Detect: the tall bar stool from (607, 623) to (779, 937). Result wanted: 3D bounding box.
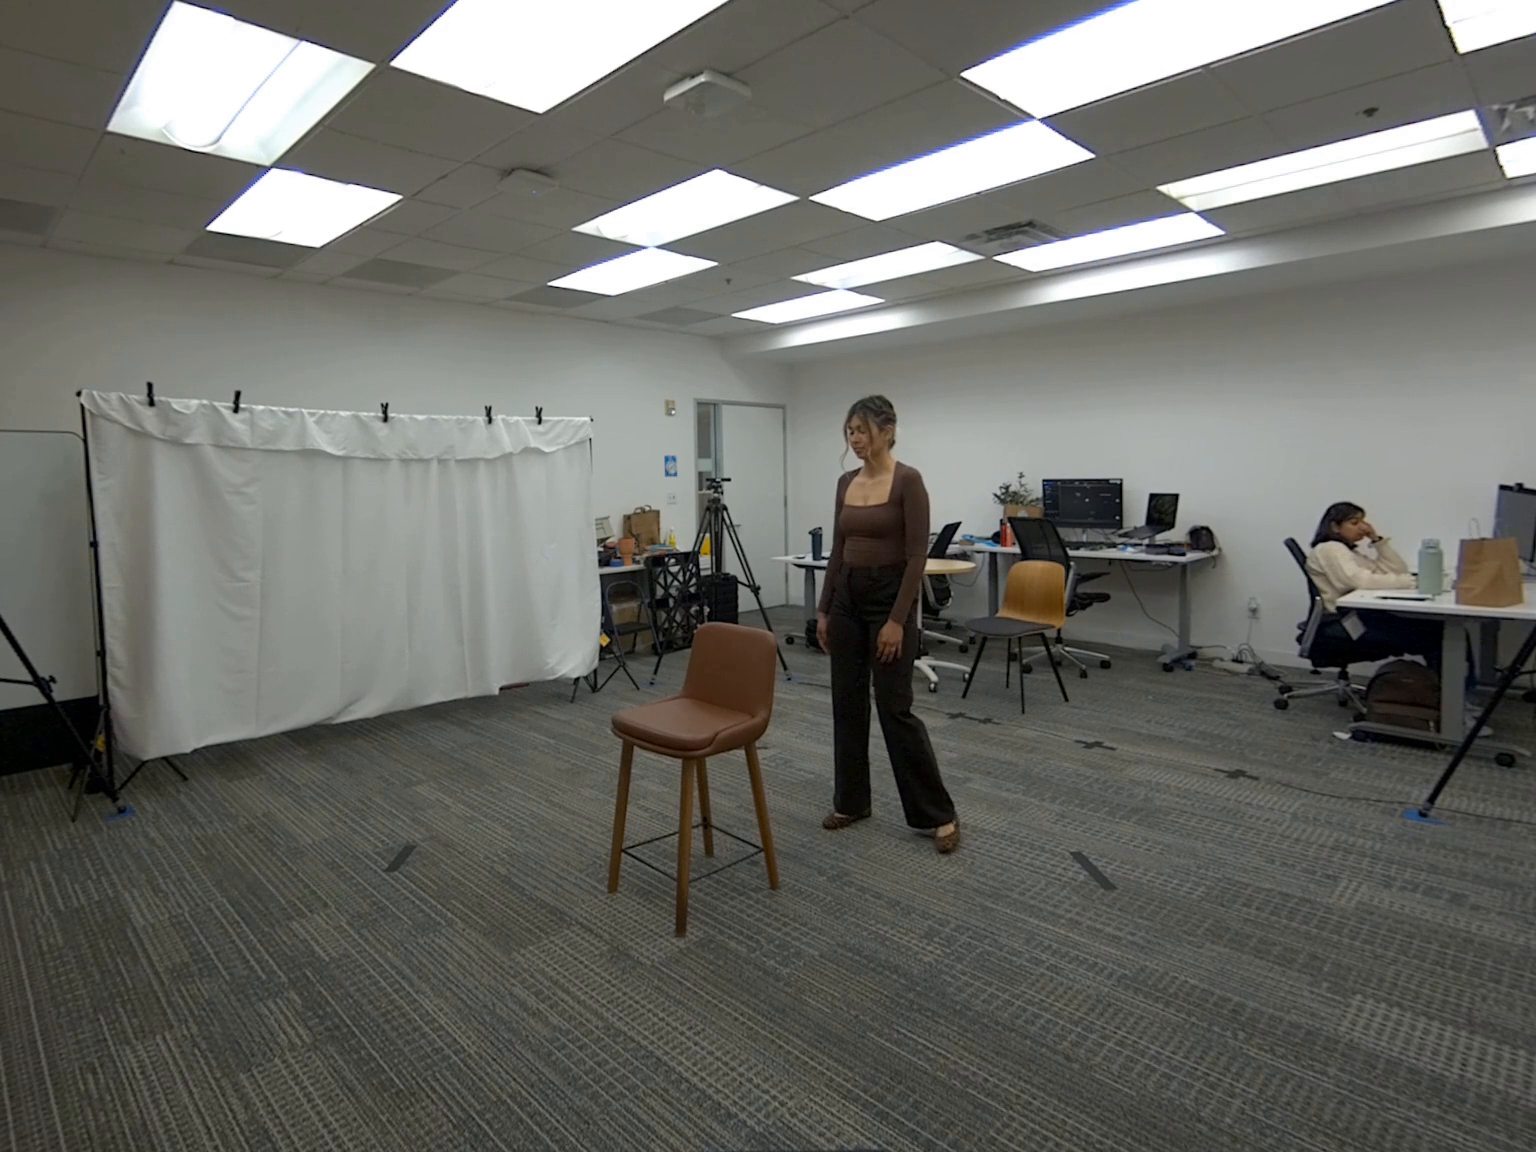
[{"bbox_3d":[-0.248,0.637,2.879,0.454,0.887,0.470,-2,4,-43],"label":"tall bar stool"}]
